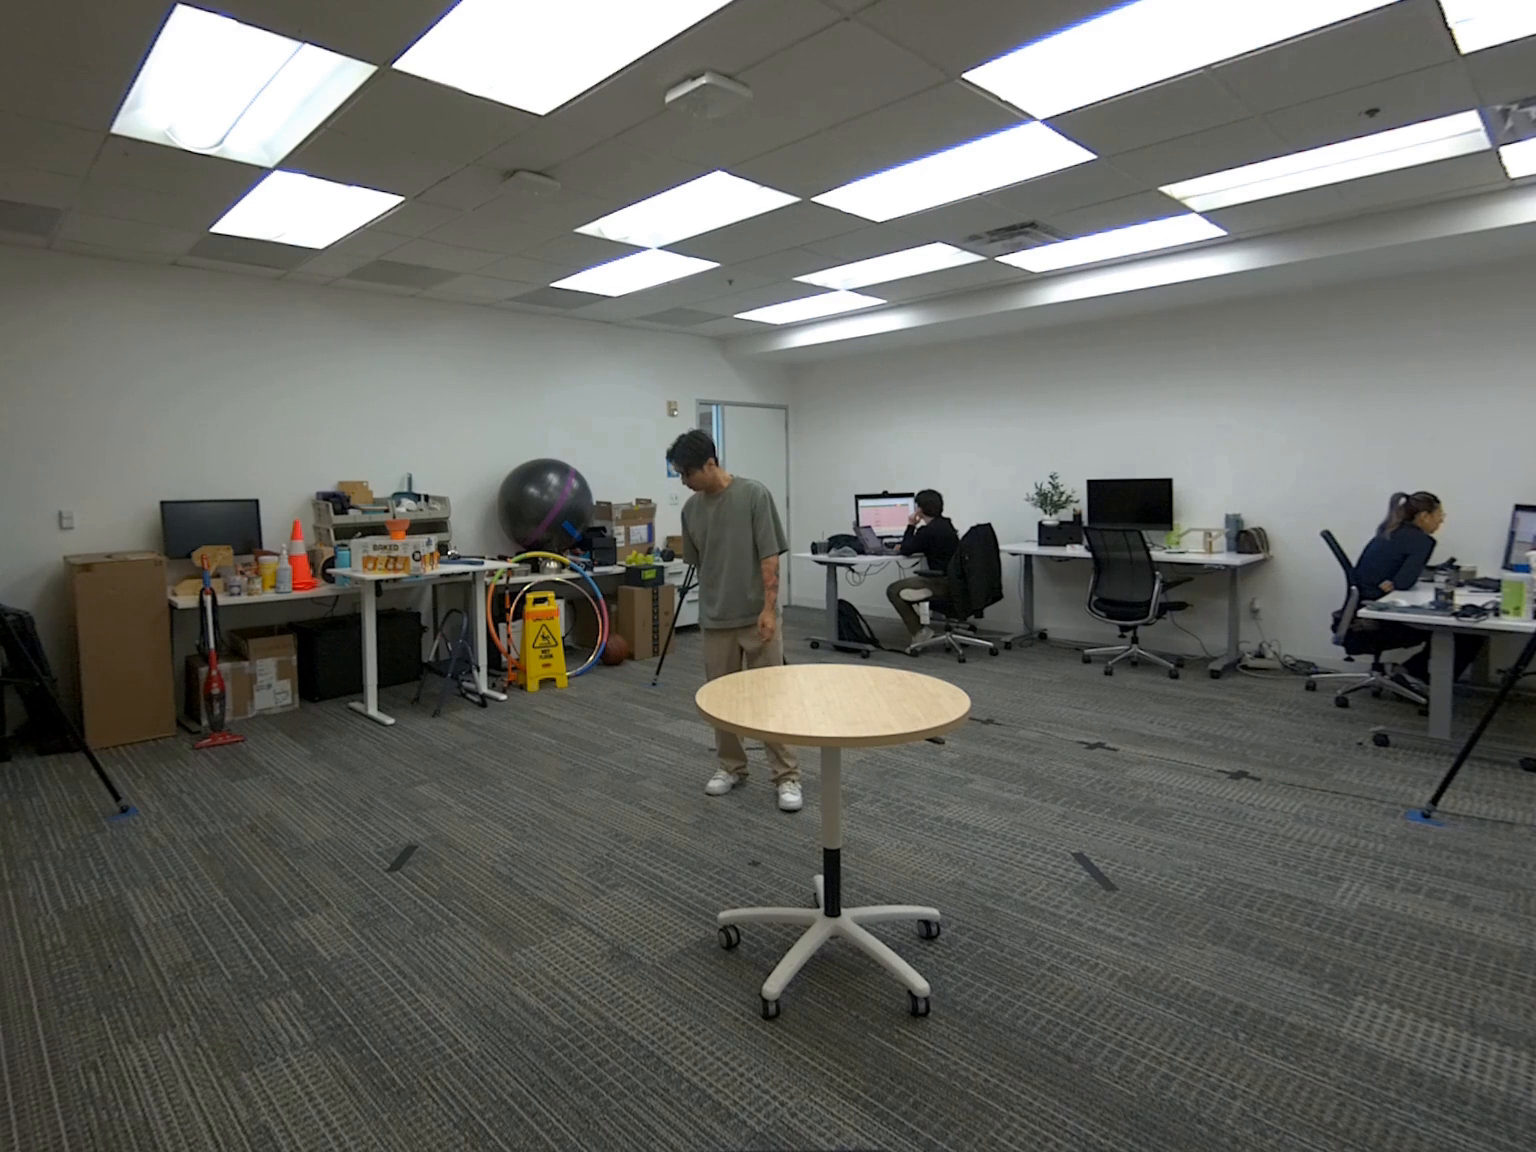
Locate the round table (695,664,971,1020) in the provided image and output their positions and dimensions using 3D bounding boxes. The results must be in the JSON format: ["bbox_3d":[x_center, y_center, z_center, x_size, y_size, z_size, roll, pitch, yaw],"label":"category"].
[{"bbox_3d":[0.175,0.728,2.439,0.784,0.783,0.789,-1,5,-2],"label":"round table"}]
